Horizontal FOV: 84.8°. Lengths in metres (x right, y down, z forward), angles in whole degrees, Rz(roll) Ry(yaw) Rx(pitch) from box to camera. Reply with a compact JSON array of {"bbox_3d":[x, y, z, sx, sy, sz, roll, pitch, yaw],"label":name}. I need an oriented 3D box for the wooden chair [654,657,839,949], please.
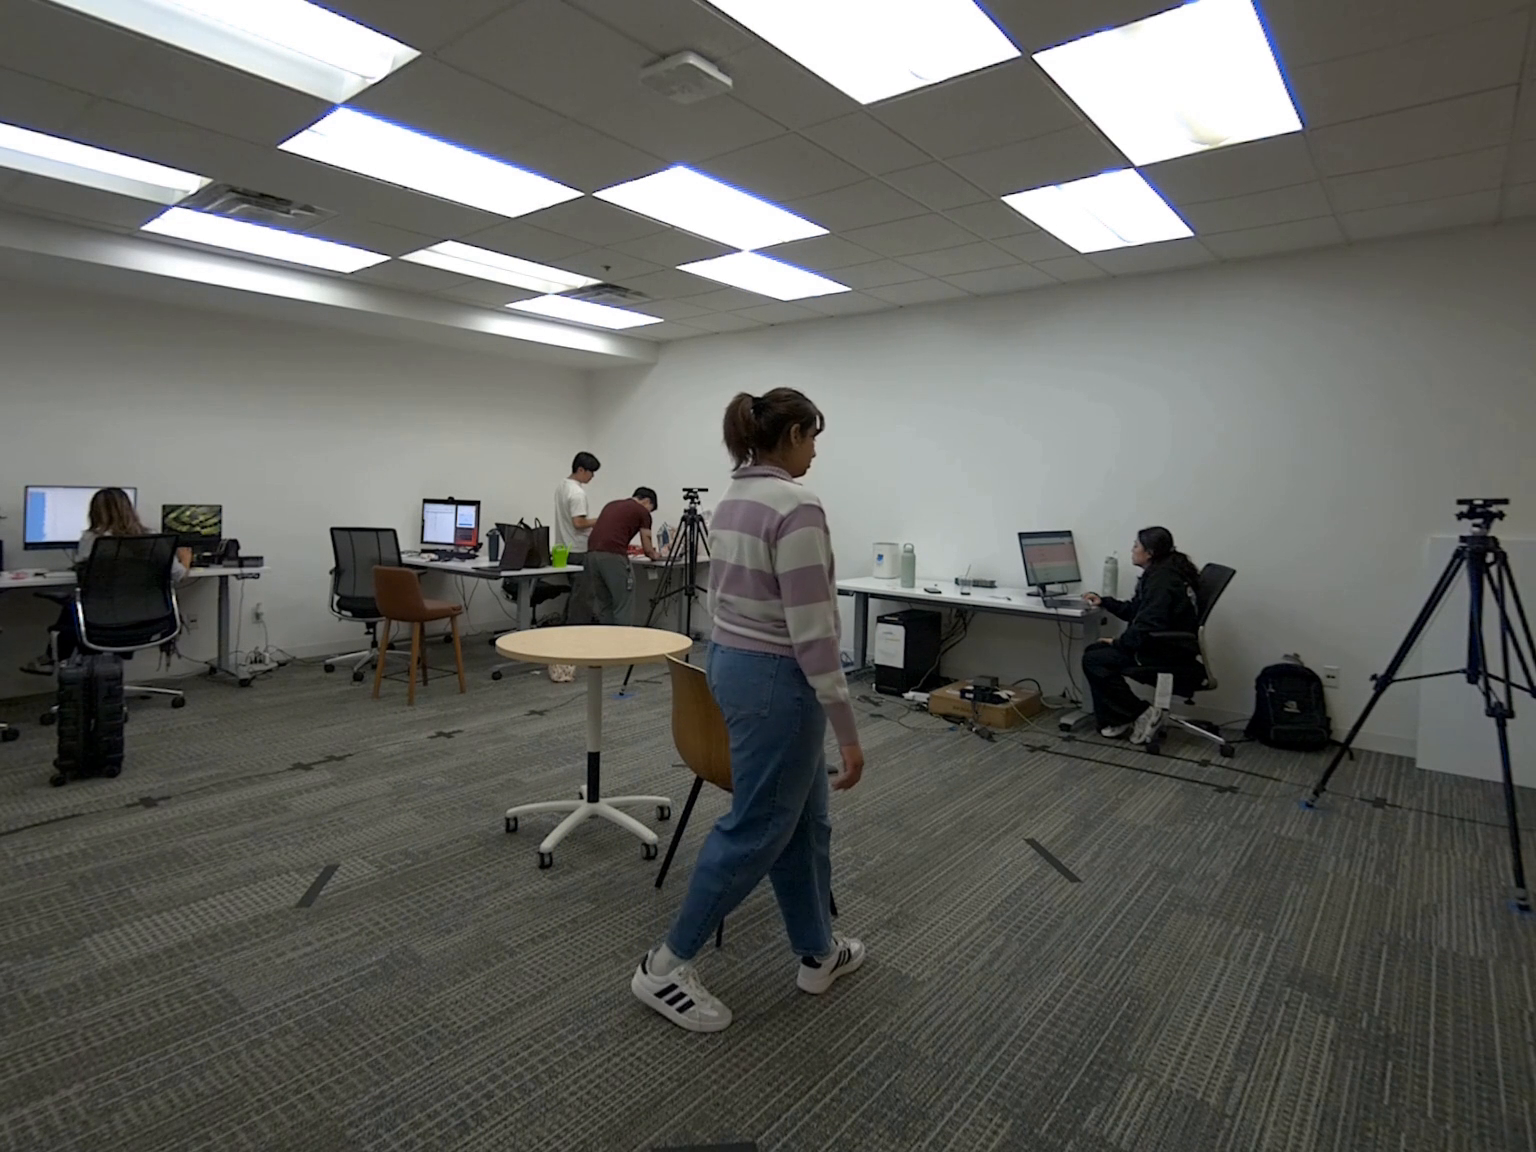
[{"bbox_3d":[-0.076,0.669,2.854,0.510,0.873,0.493,-5,6,-31],"label":"wooden chair"}]
